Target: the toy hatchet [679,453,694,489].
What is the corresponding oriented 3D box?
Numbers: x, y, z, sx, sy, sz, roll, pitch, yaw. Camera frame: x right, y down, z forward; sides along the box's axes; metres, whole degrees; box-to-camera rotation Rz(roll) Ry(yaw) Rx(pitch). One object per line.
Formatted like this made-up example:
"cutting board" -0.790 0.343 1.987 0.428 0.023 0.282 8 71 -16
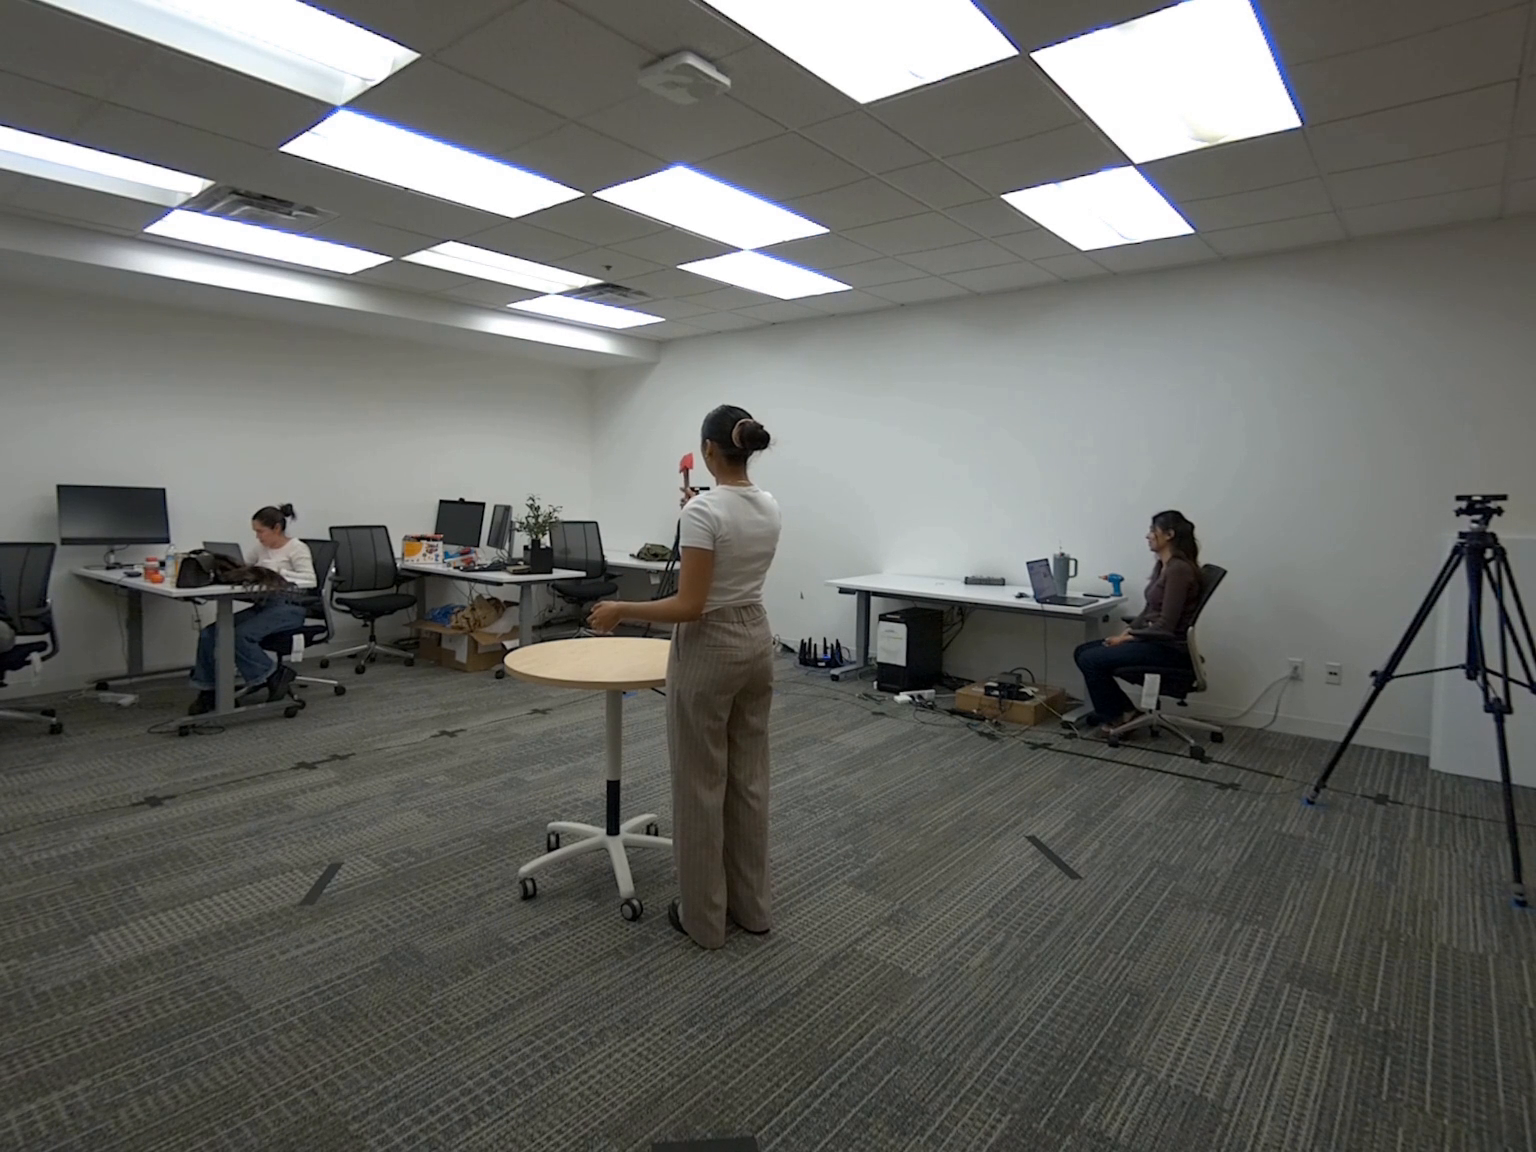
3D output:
"toy hatchet" -0.290 -0.337 3.028 0.029 0.129 0.280 6 43 -24
